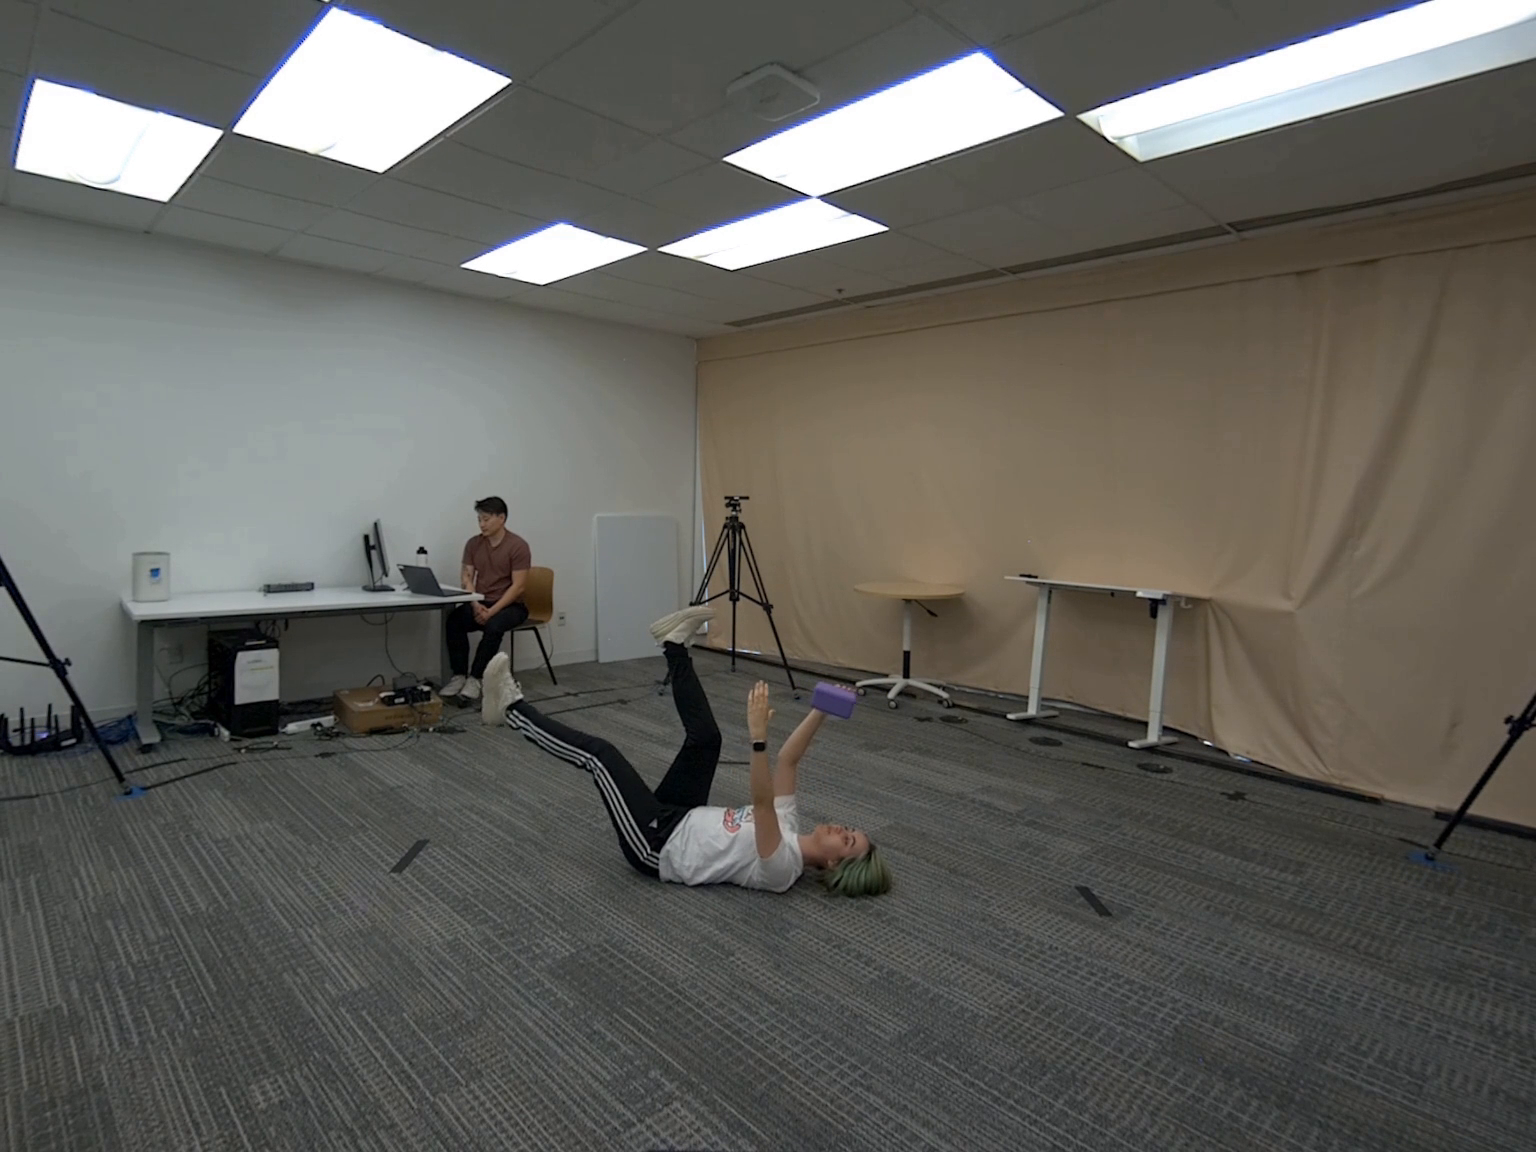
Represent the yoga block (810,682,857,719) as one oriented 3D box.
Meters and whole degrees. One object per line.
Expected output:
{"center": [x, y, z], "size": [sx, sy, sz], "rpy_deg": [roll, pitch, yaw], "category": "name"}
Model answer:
{"center": [0.240, 0.452, 3.066], "size": [0.150, 0.076, 0.228], "rpy_deg": [15, 1, 4], "category": "yoga block"}
